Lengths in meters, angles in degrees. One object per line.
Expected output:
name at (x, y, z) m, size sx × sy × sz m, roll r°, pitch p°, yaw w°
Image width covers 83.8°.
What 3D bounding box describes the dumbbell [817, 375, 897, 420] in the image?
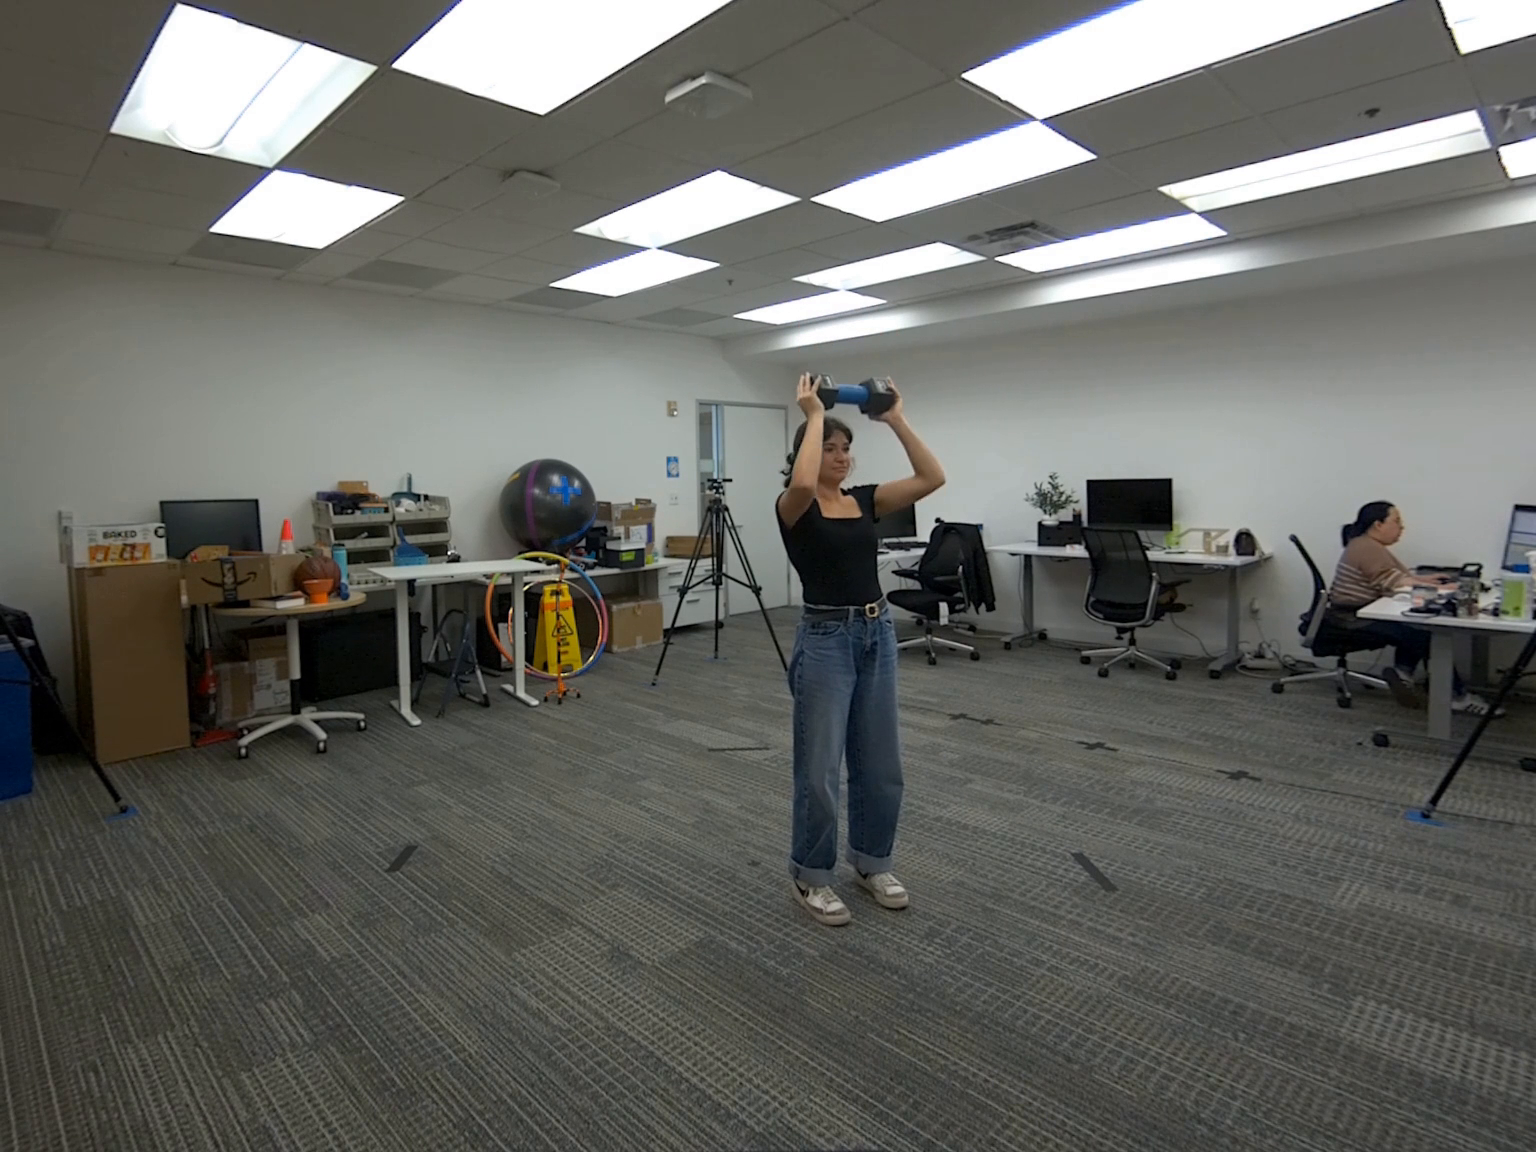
dumbbell at (0.252, -0.574, 2.677) m, size 0.287 × 0.121 × 0.113 m, roll -3°, pitch 34°, yaw -28°
